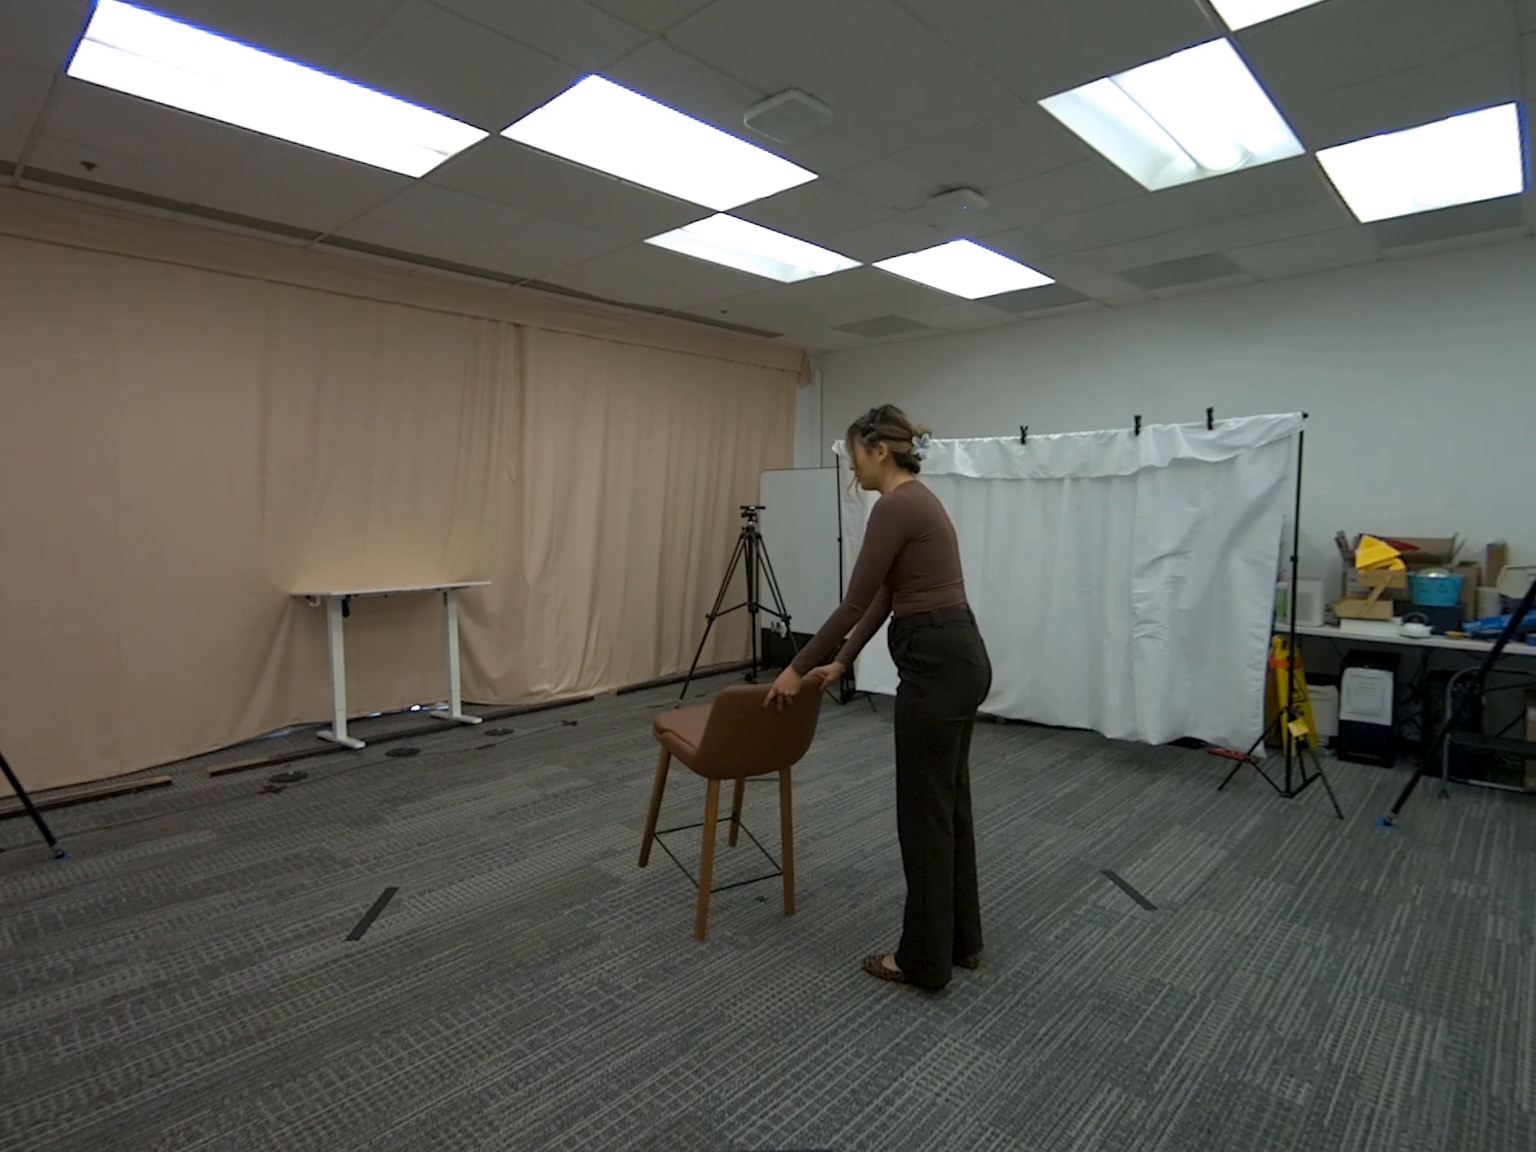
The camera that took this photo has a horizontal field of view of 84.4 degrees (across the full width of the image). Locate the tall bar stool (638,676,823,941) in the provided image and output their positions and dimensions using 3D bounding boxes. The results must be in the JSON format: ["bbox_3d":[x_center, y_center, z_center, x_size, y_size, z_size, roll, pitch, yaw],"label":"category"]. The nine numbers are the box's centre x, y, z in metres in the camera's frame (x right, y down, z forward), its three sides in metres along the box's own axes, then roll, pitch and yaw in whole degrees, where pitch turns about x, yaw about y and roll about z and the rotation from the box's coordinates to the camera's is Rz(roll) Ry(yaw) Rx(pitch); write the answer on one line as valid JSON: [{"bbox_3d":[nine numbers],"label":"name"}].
[{"bbox_3d":[-0.128,0.686,2.868,0.444,0.883,0.484,-2,17,-31],"label":"tall bar stool"}]
